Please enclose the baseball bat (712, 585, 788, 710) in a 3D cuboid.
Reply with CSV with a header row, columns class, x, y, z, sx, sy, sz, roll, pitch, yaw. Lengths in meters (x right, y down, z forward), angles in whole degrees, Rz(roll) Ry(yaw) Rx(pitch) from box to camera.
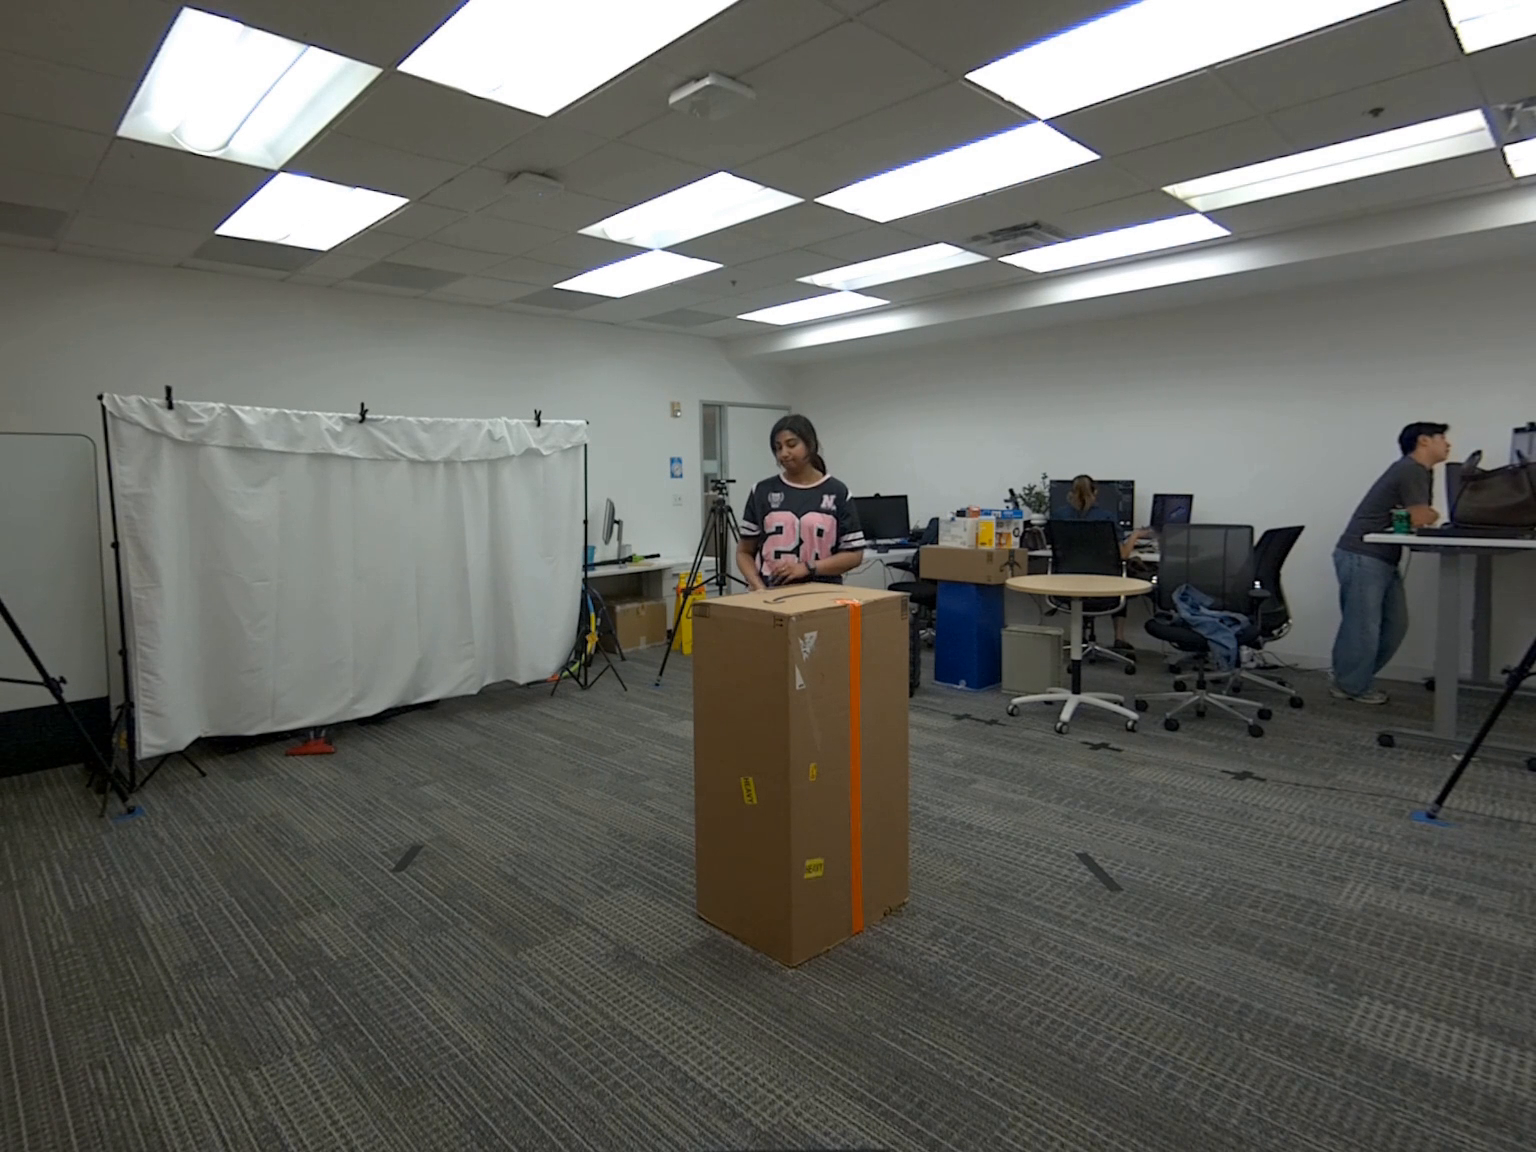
class,x,y,z,sx,sy,sz,roll,pitch,yaw
baseball bat,-0.068,0.253,3.384,0.090,0.548,0.087,21,-24,8
